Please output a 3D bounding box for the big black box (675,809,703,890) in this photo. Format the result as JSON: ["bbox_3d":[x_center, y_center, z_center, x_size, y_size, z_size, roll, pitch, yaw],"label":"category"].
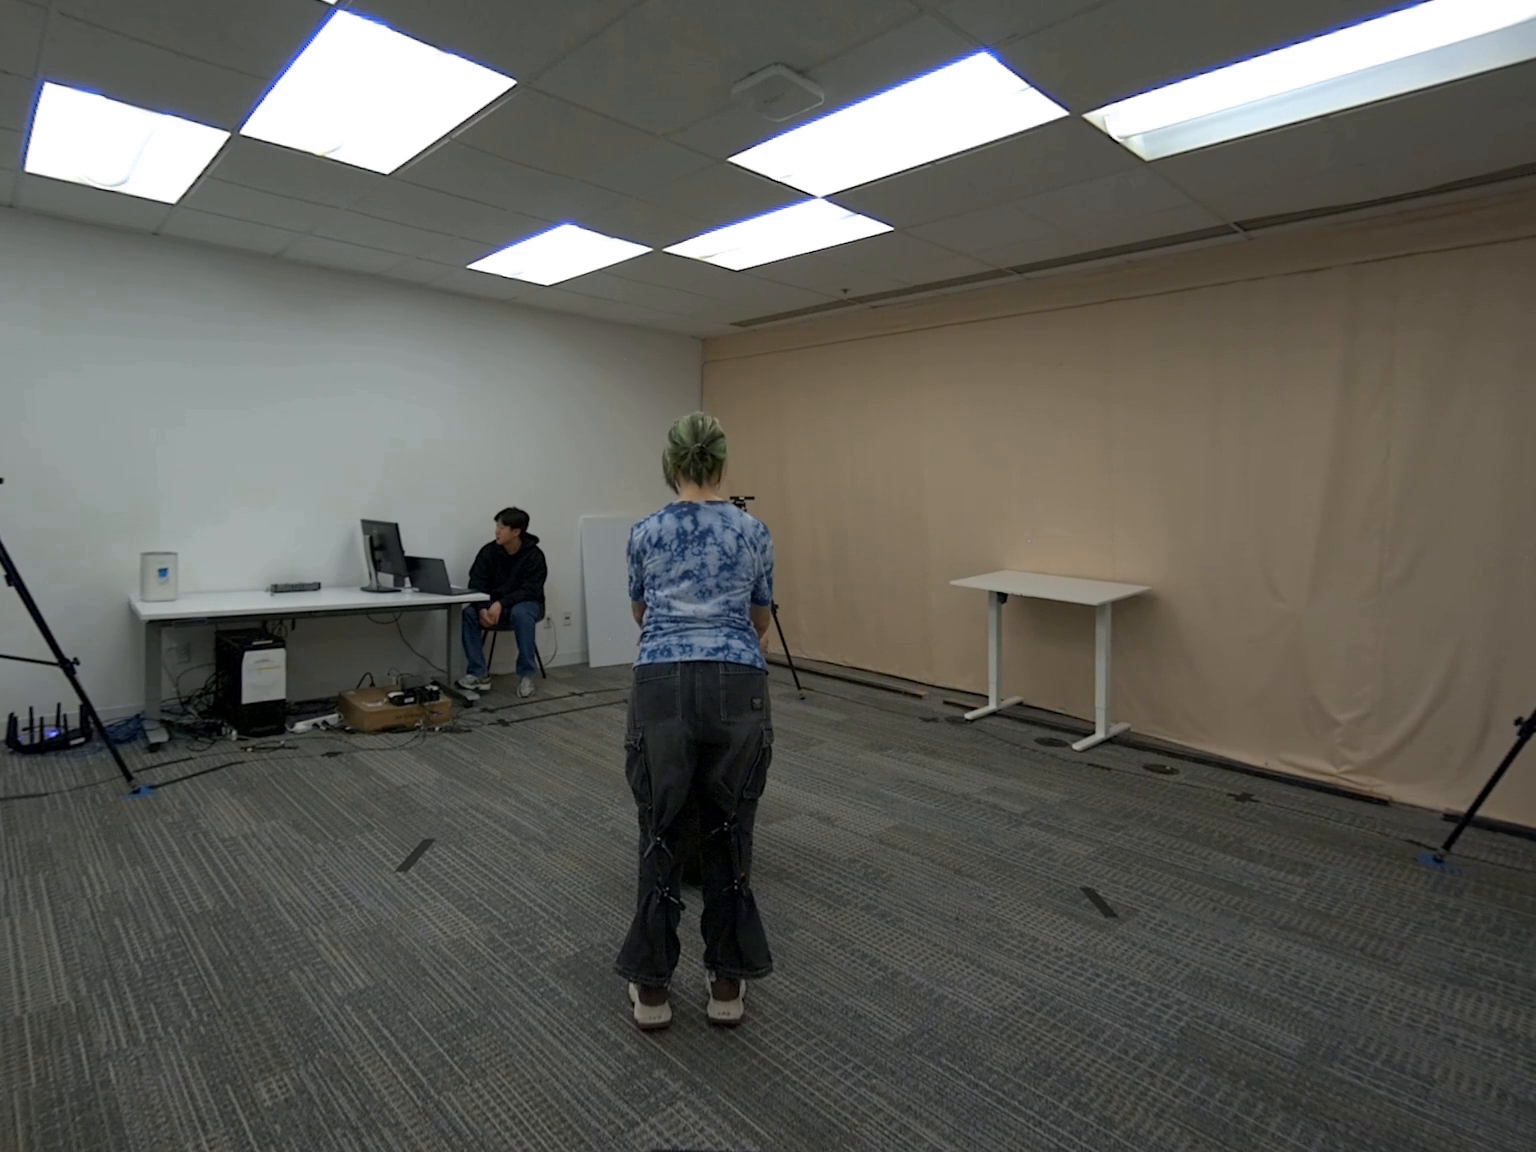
[{"bbox_3d":[-0.262,0.678,3.157,0.397,0.859,0.521,1,3,2],"label":"big black box"}]
